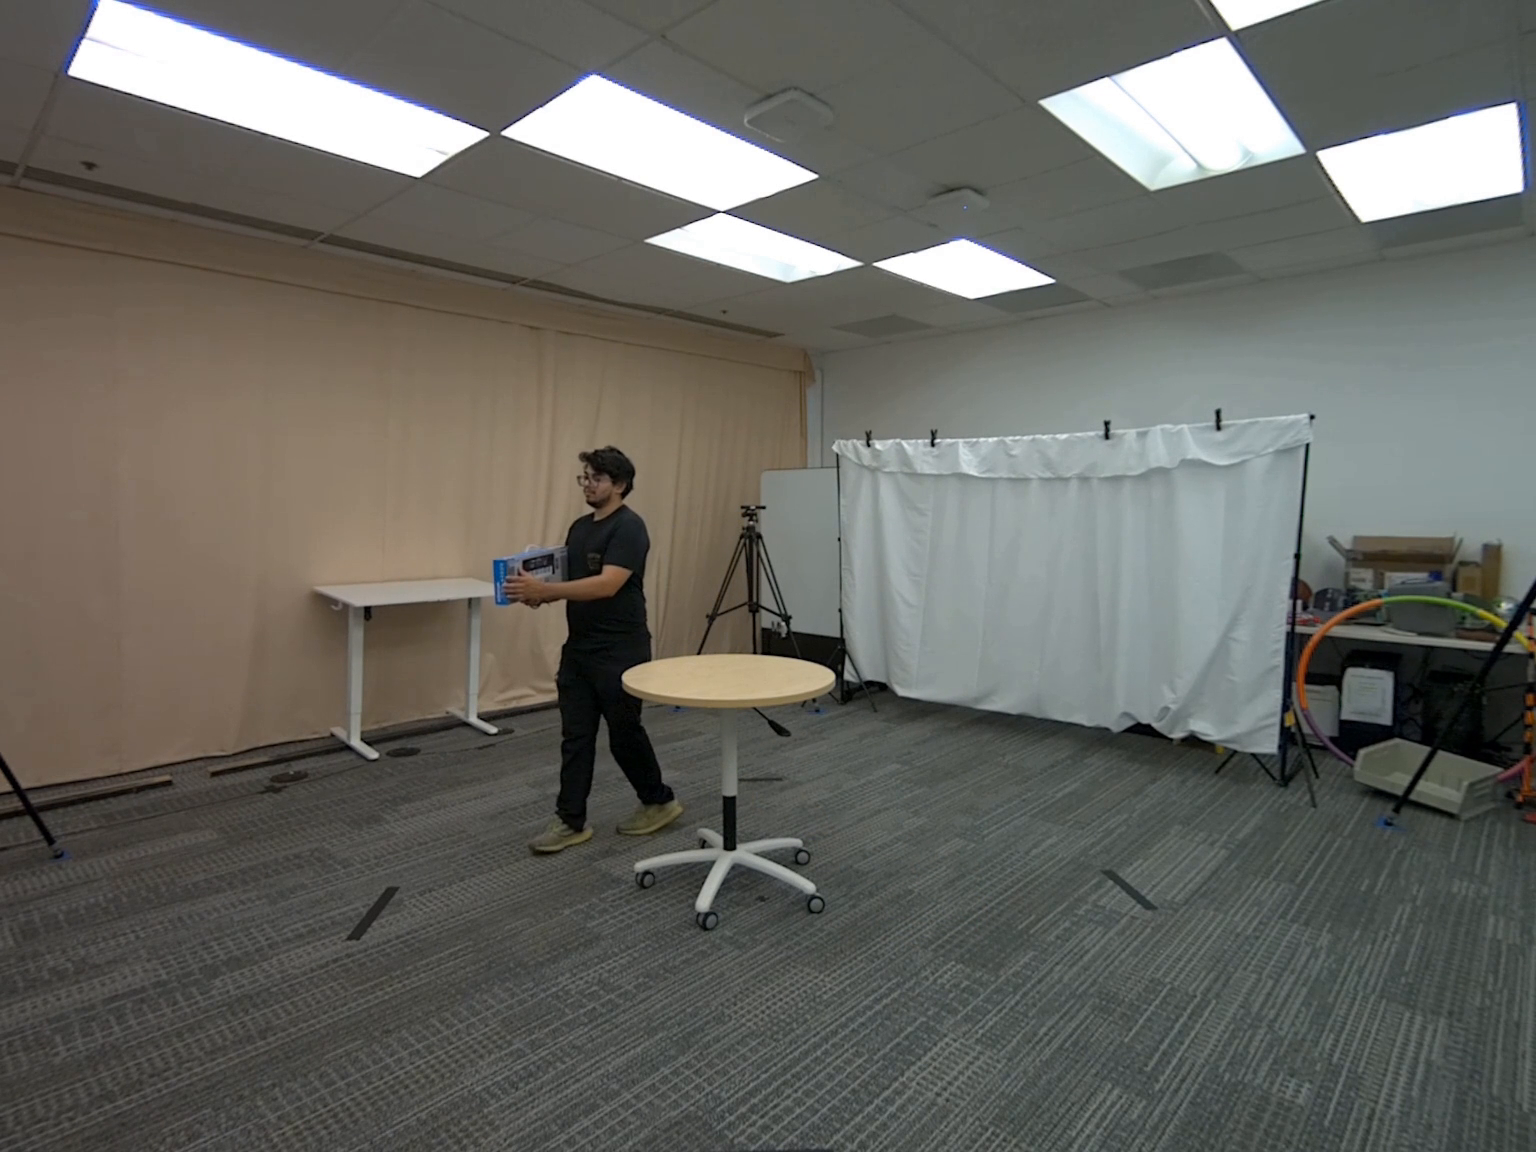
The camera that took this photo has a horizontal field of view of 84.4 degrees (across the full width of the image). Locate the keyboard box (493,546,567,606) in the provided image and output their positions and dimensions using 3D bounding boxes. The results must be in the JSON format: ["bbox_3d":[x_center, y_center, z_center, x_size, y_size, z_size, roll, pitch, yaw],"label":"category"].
[{"bbox_3d":[-0.928,-0.005,3.340,0.060,0.175,0.430,1,9,19],"label":"keyboard box"}]
